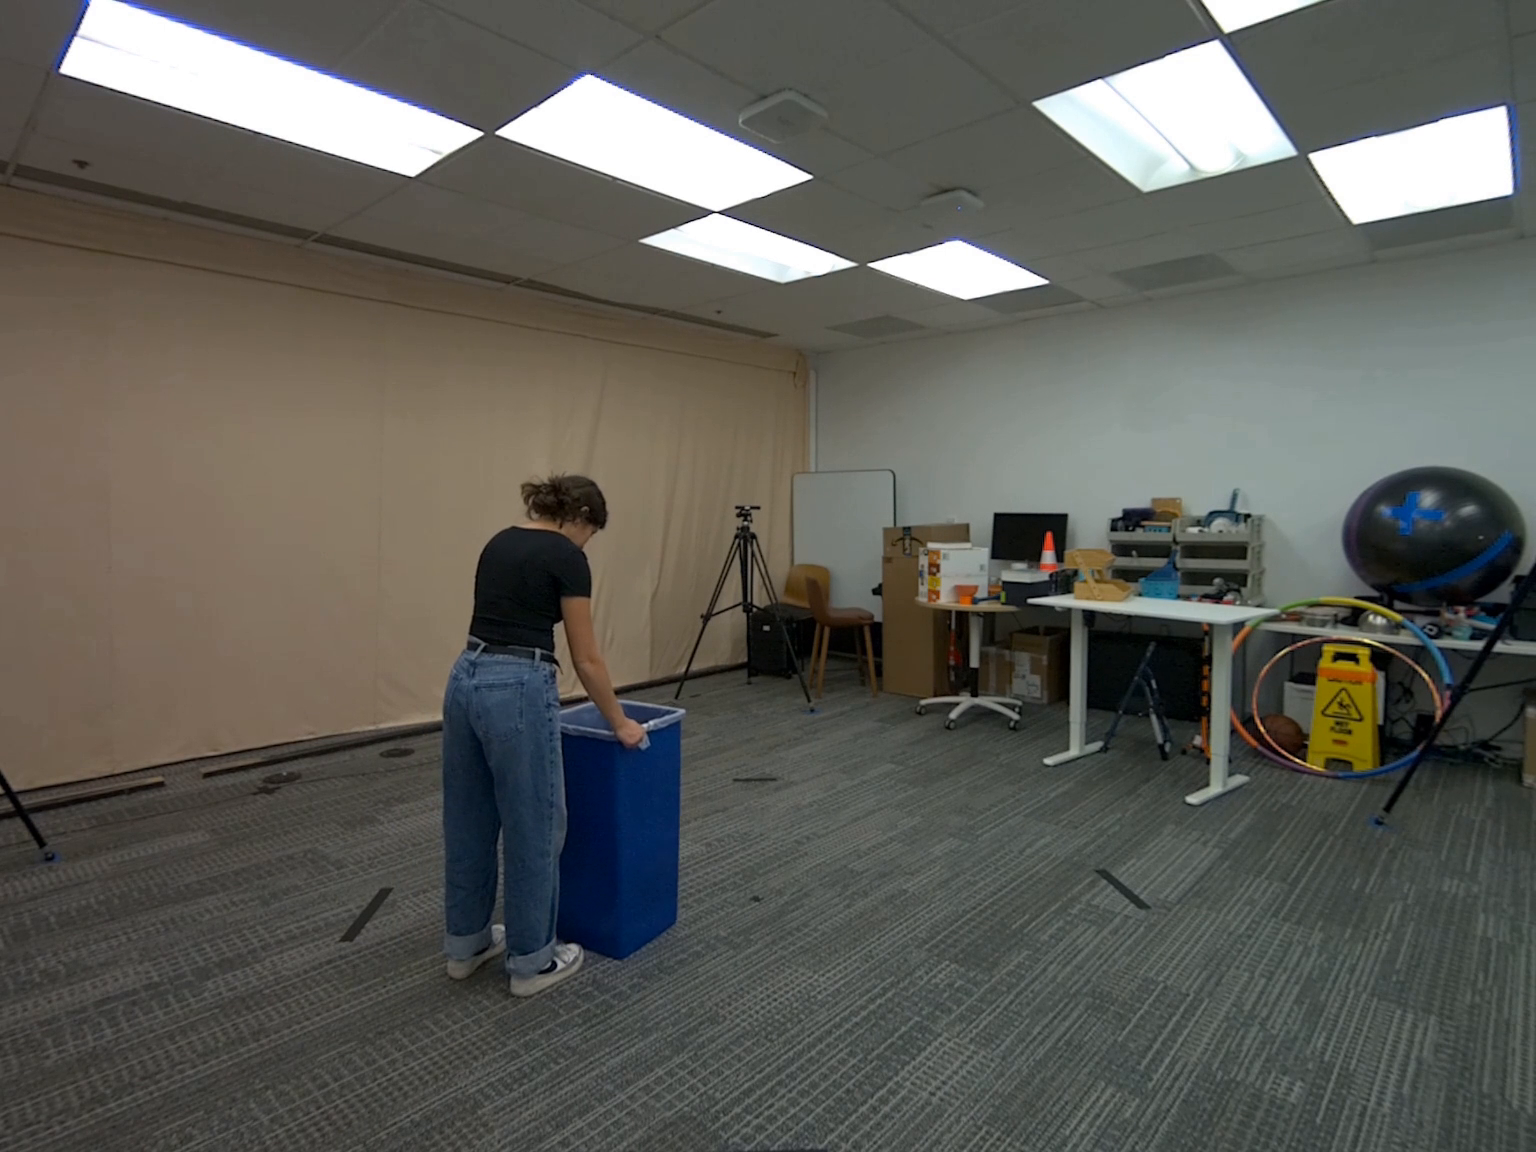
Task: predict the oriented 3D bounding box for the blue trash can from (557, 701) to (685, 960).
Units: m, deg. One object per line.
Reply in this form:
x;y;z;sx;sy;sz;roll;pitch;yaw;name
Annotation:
-0.513;0.808;2.766;0.385;0.712;0.367;2;4;32;blue trash can
